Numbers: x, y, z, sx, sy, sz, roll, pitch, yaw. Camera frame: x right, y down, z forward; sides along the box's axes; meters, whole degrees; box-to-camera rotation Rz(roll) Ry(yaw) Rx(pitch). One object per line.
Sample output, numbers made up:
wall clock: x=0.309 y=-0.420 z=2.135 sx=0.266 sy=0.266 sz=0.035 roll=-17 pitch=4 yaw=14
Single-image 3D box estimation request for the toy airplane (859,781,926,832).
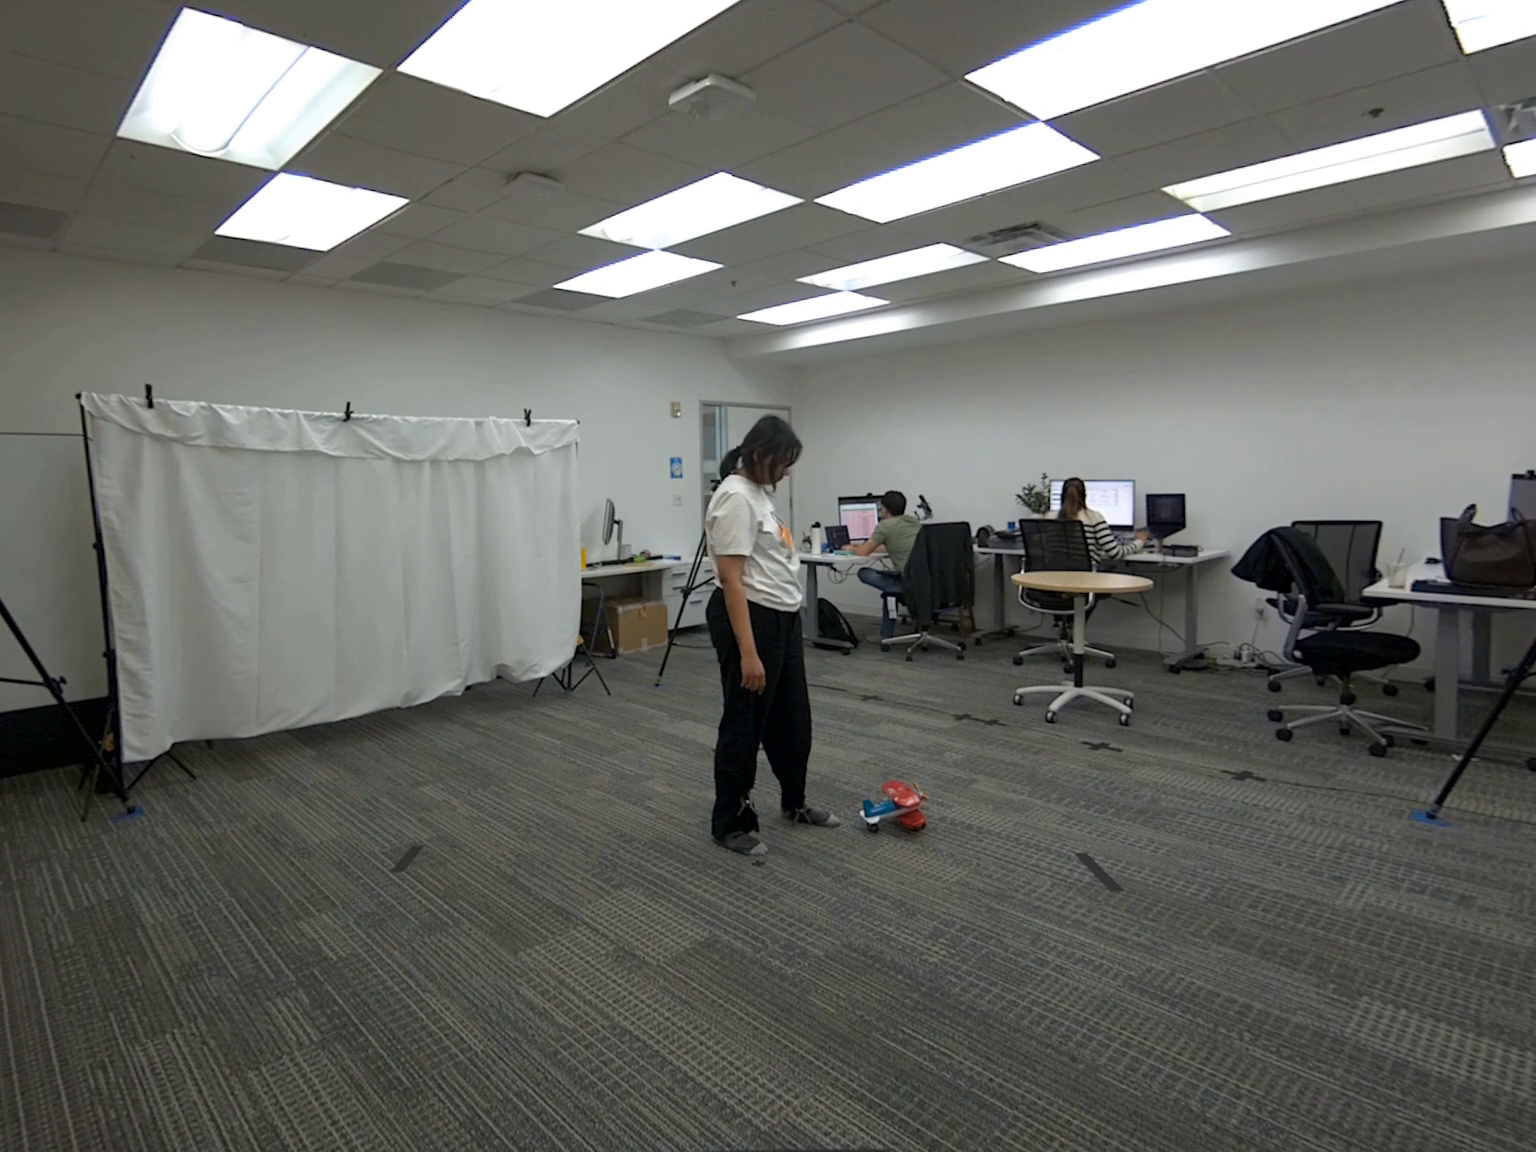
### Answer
toy airplane: x=0.507 y=0.926 z=3.386 sx=0.252 sy=0.156 sz=0.259 roll=-5 pitch=8 yaw=-40
